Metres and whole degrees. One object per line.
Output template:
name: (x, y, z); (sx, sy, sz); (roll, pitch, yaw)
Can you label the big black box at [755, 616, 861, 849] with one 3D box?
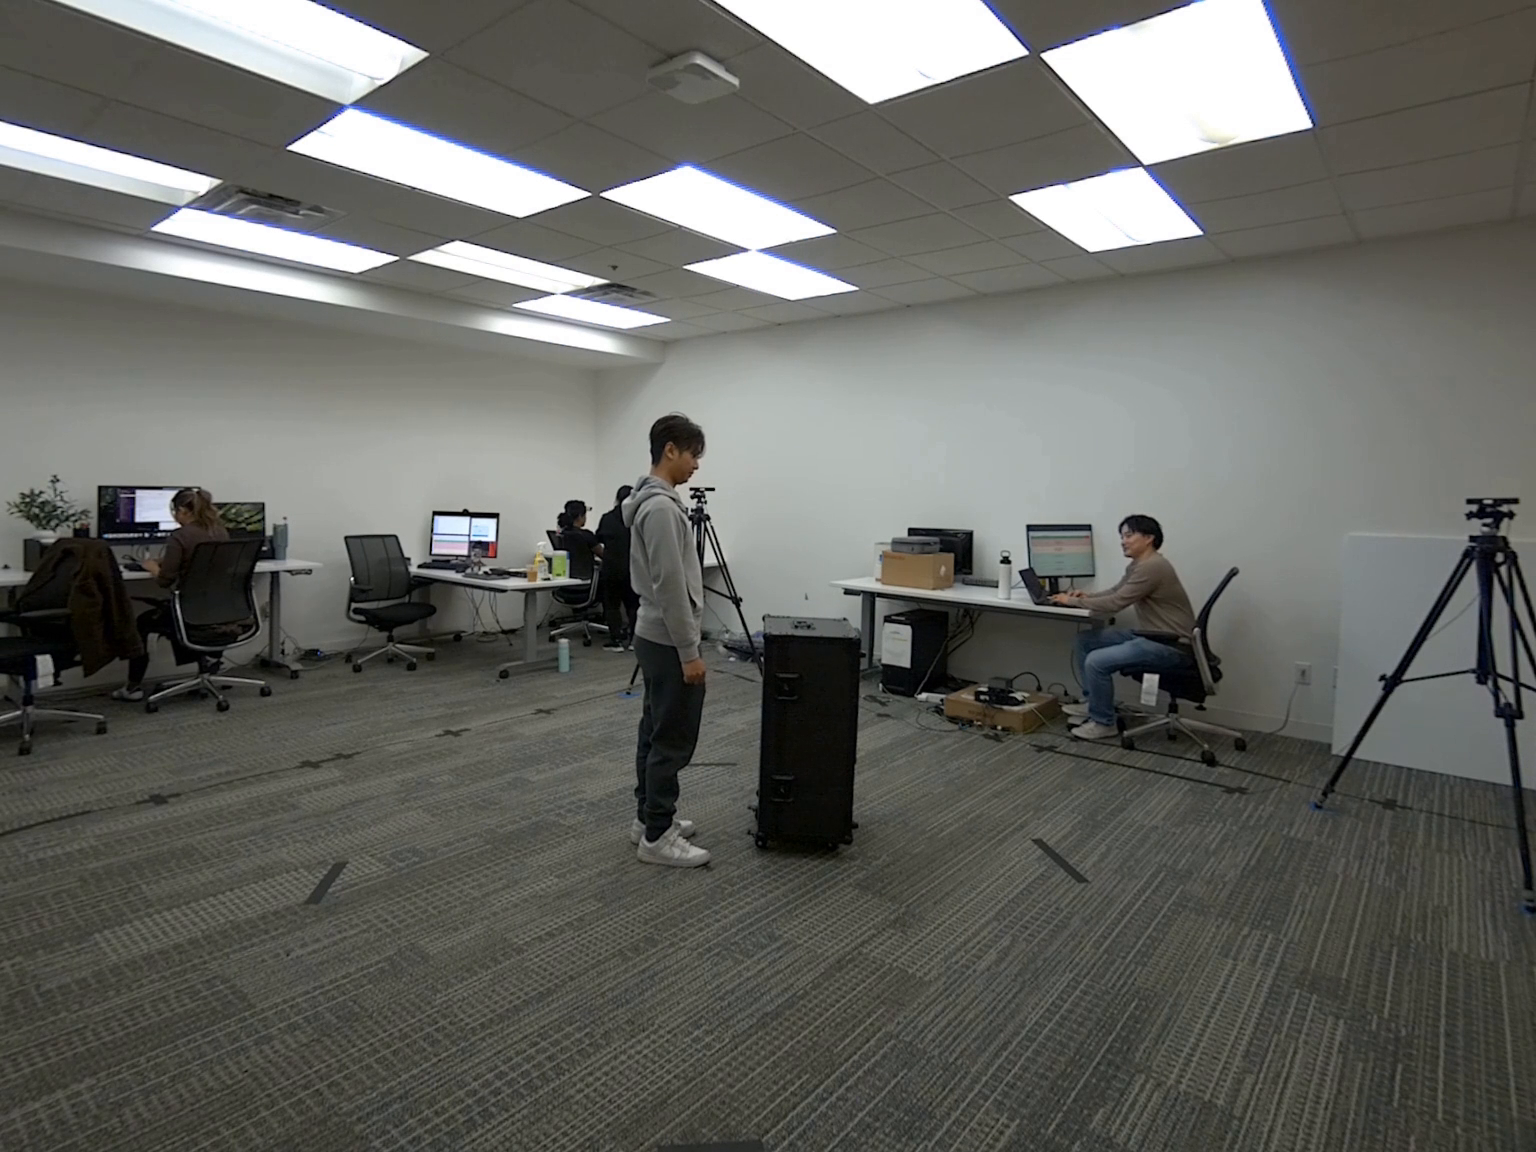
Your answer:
big black box: (0.151, 0.622, 3.415); (0.397, 0.859, 0.522); (3, 4, 1)
